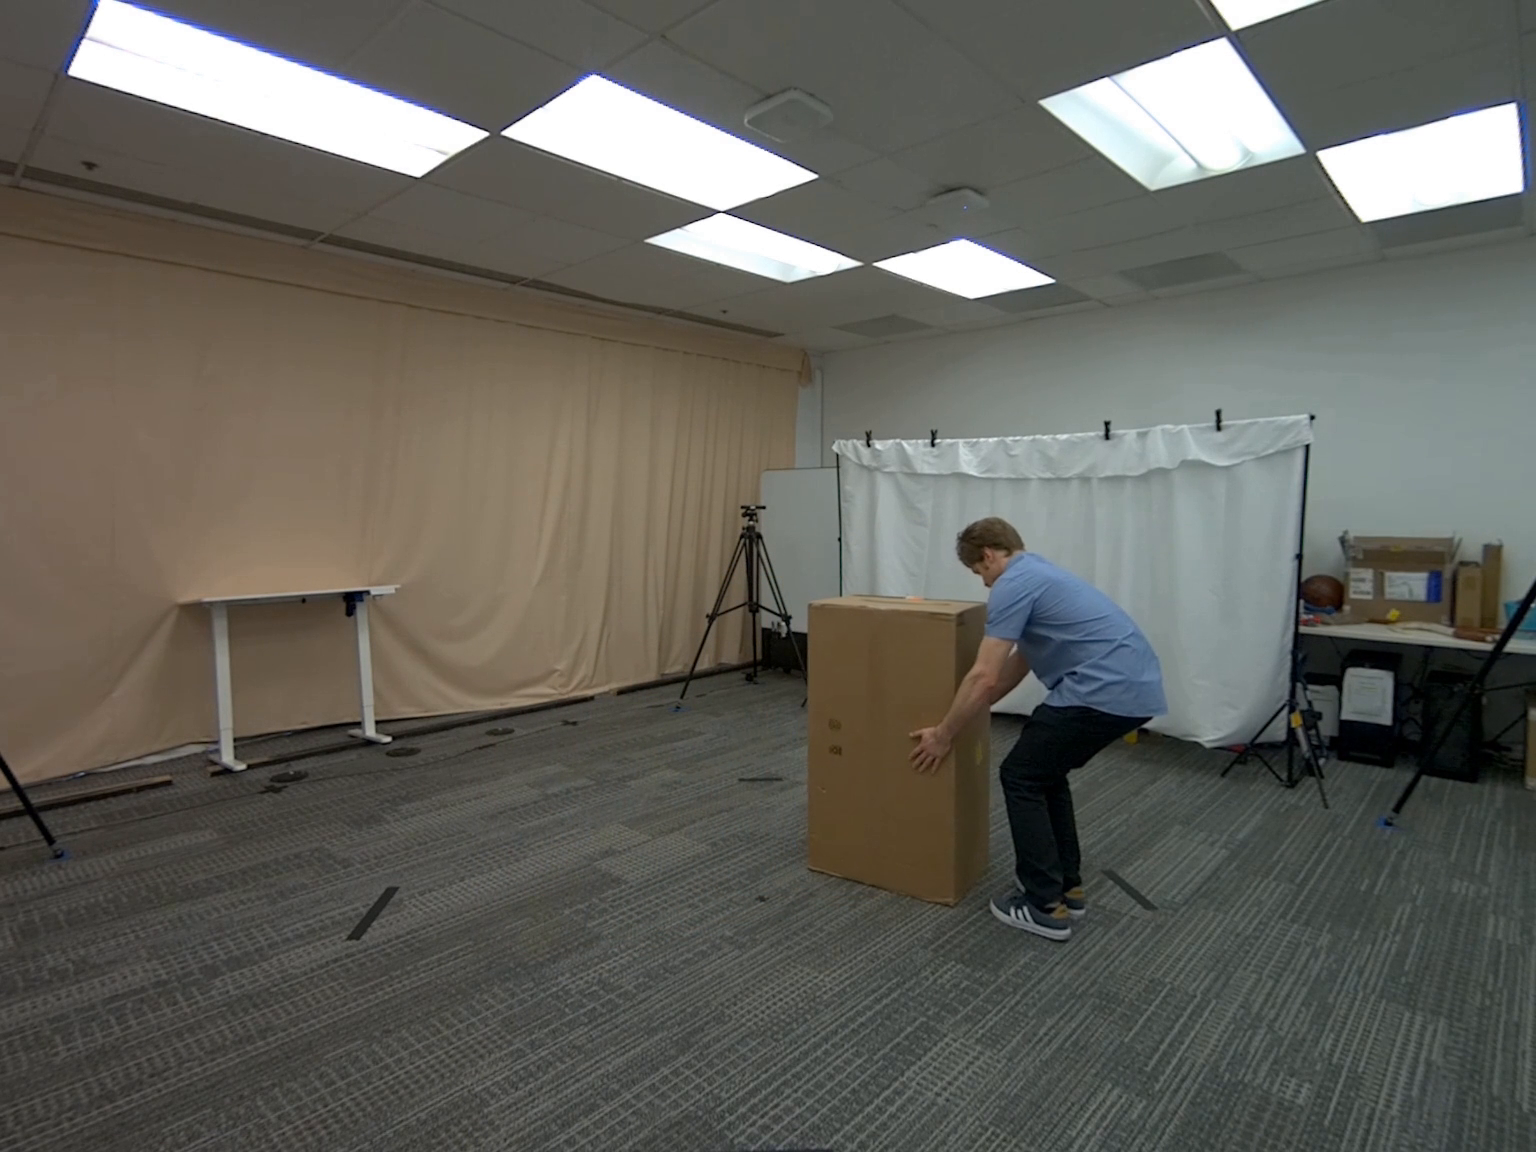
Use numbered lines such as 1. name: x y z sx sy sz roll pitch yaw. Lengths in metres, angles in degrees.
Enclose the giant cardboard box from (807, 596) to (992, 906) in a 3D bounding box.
1. giant cardboard box: 0.502 0.615 3.224 0.595 1.024 0.414 2 3 33
